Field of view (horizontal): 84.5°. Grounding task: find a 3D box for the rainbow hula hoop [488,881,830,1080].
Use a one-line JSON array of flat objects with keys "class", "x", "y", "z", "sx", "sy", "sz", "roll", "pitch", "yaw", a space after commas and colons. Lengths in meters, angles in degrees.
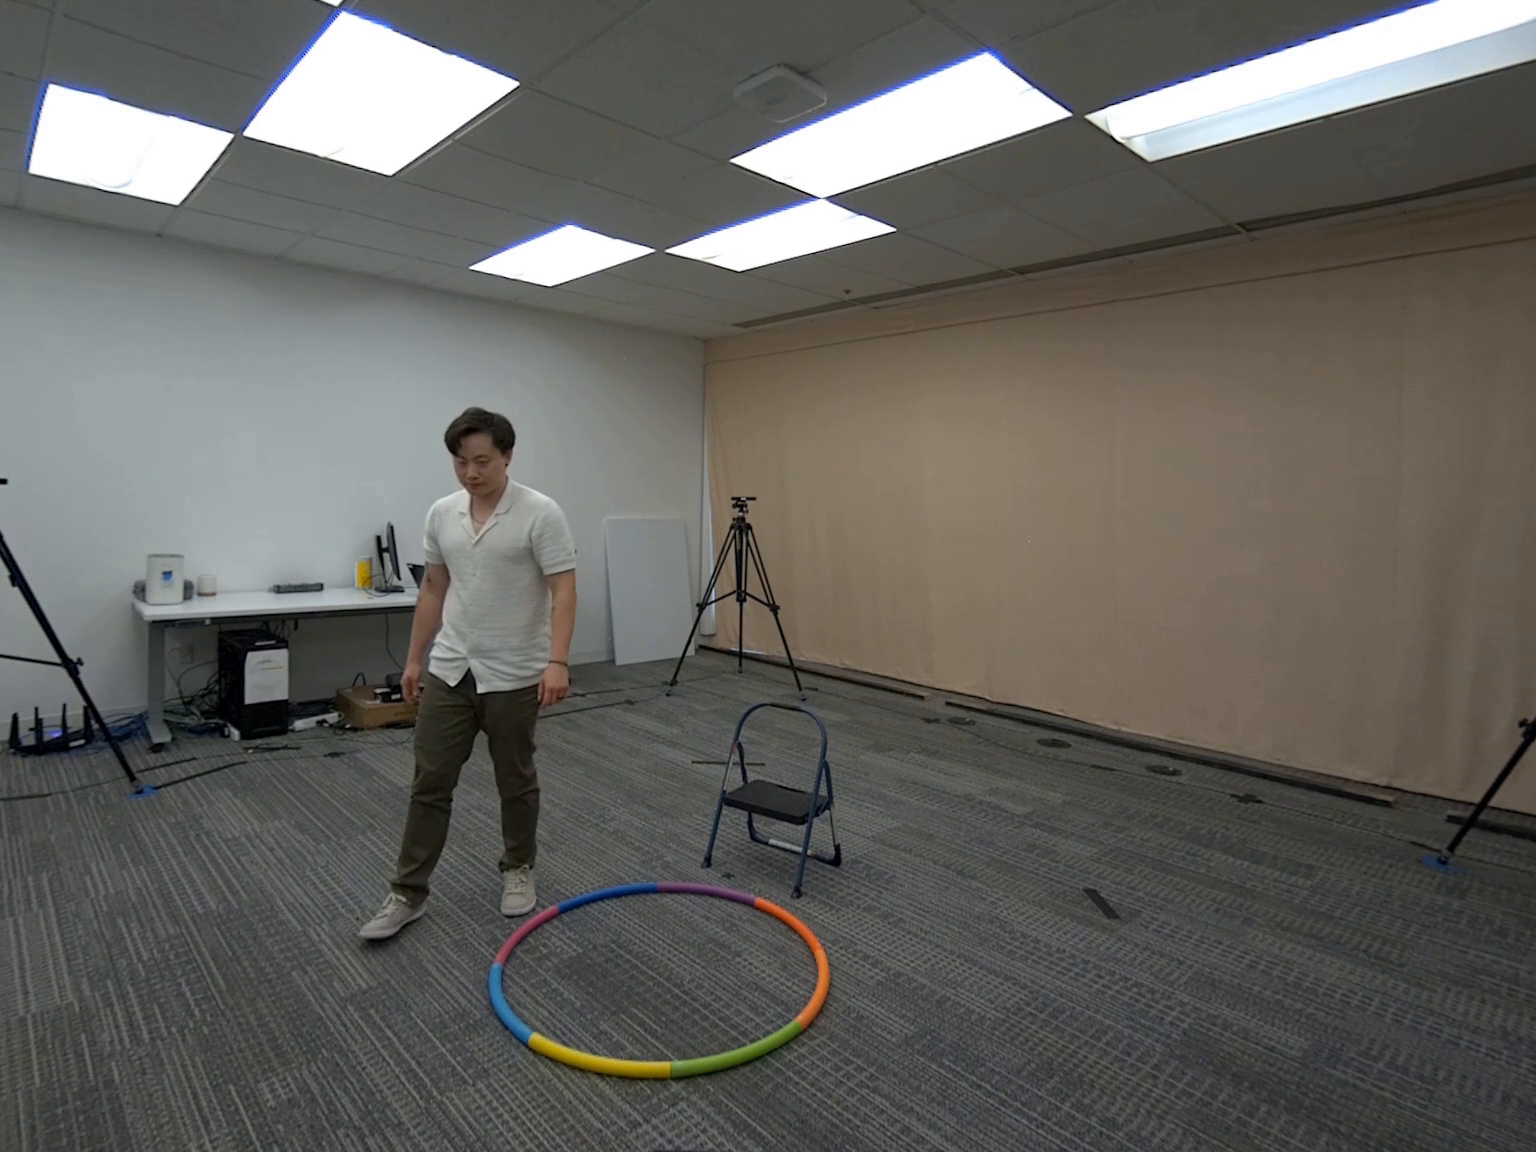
[{"class": "rainbow hula hoop", "x": -0.318, "y": 1.127, "z": 2.494, "sx": 0.978, "sy": 0.035, "sz": 0.982, "roll": 1, "pitch": 6, "yaw": -1}]
